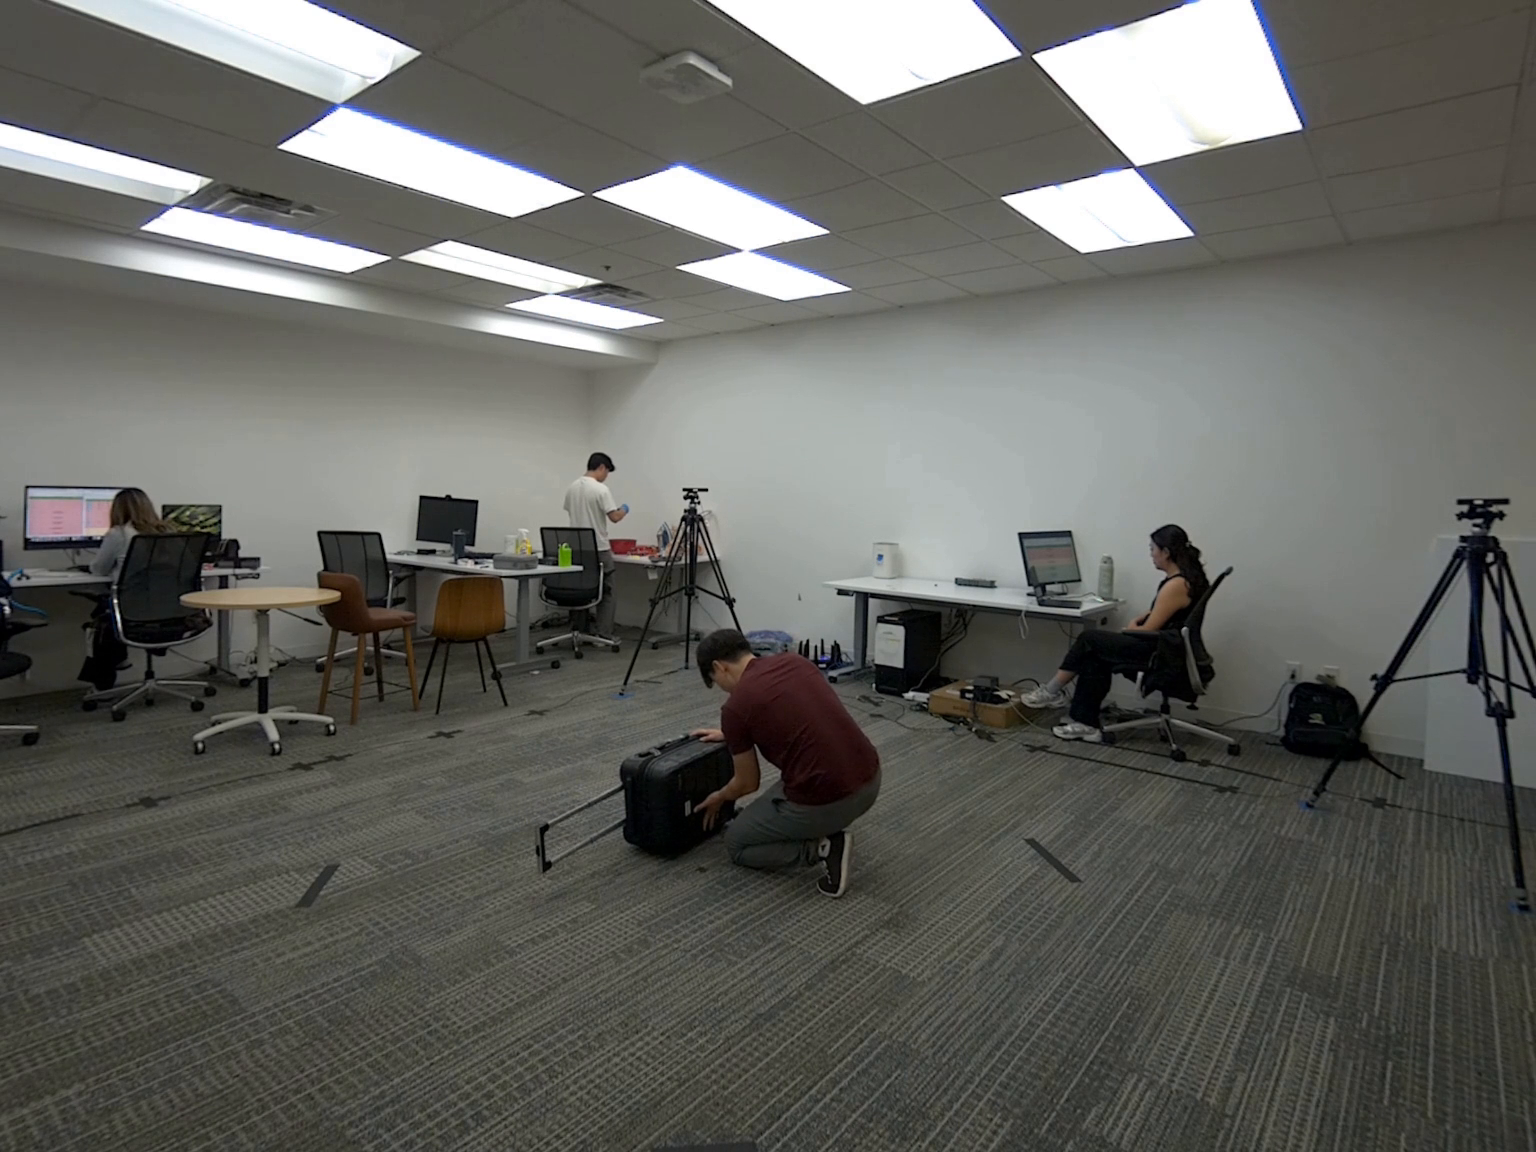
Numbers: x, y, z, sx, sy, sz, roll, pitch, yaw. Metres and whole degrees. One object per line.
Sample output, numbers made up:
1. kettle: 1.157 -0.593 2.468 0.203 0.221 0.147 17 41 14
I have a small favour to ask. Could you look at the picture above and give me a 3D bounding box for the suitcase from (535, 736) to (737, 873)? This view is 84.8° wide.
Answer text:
1. suitcase: -0.464 0.869 3.231 0.264 0.383 0.954 -2 4 30
